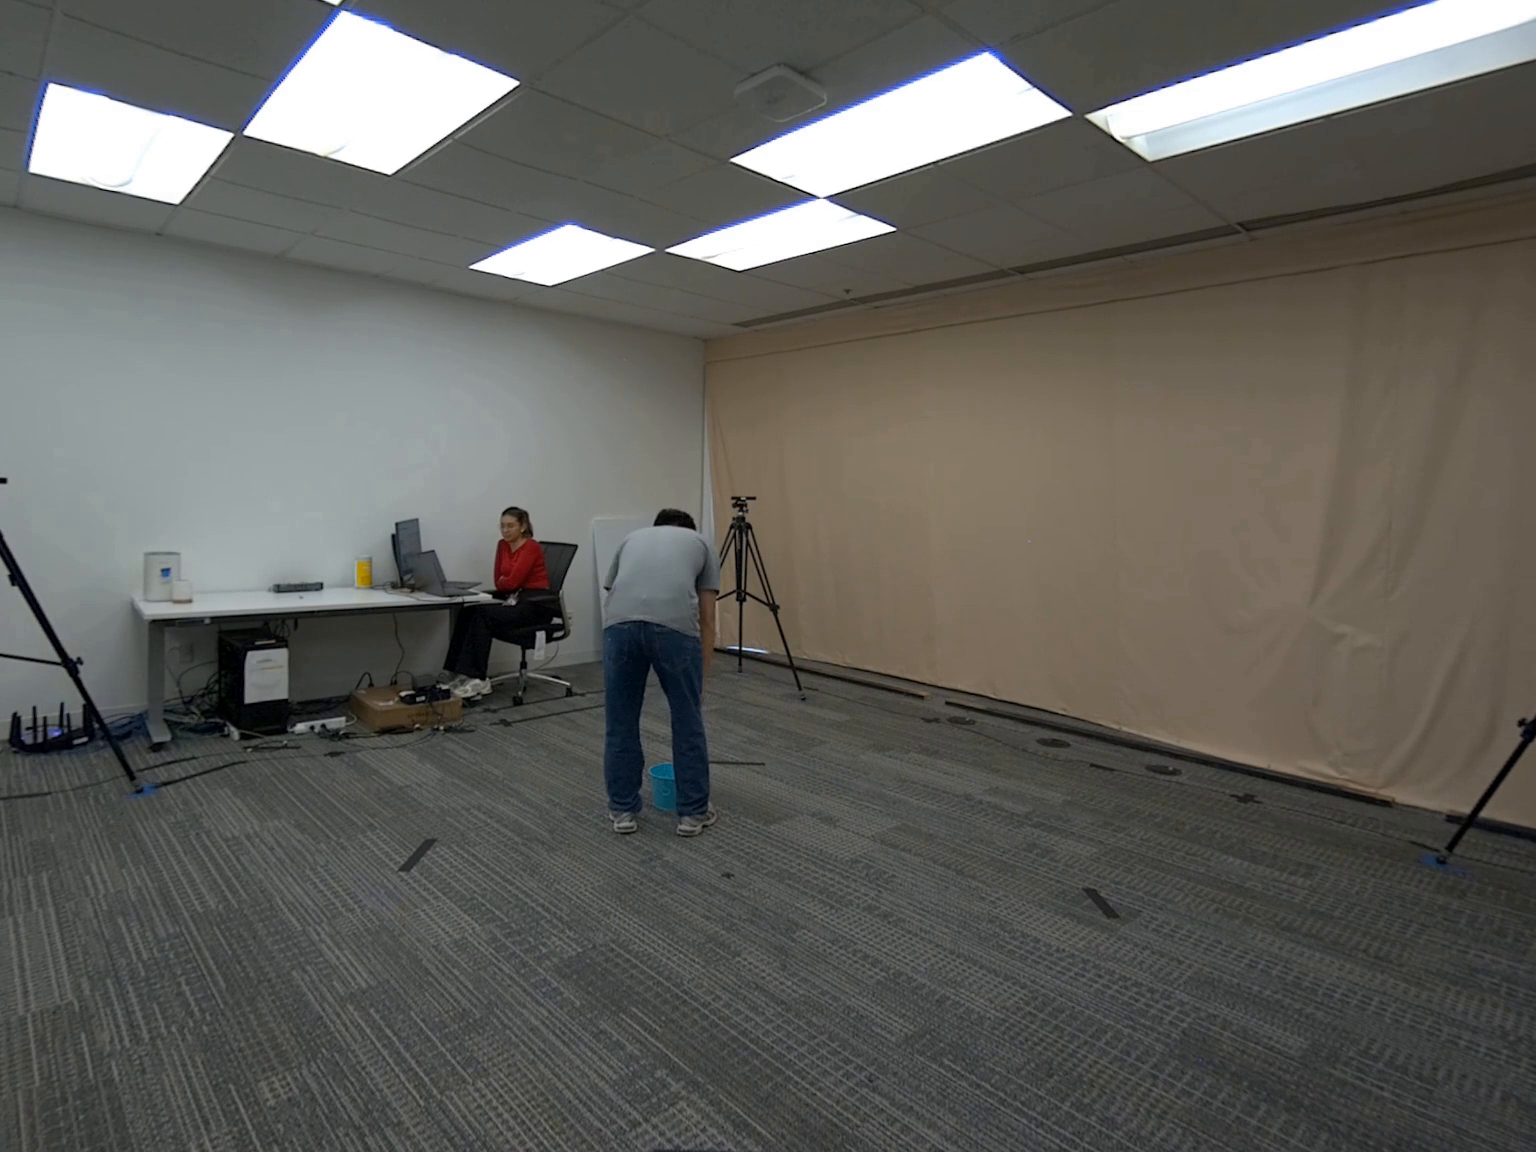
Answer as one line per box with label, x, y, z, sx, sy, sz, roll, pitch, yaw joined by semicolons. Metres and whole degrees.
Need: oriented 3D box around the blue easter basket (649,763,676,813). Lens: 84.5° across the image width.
blue easter basket;-0.438;0.958;3.833;0.243;0.155;0.244;2;4;-2
